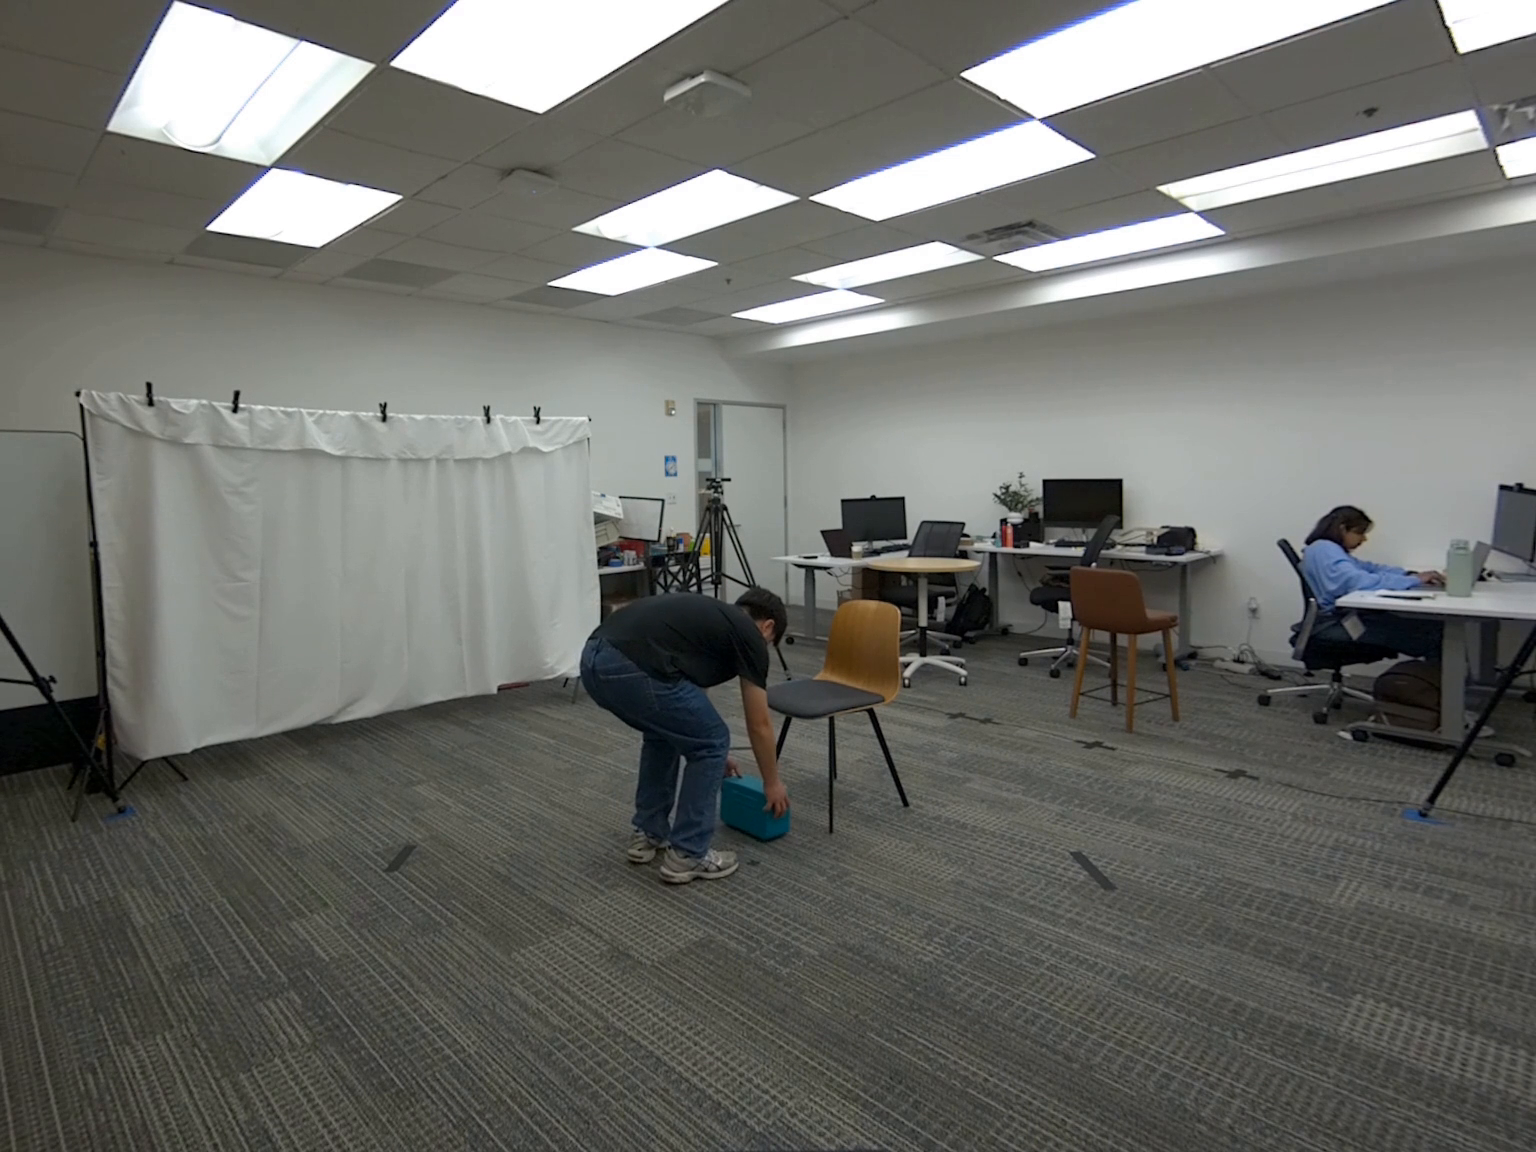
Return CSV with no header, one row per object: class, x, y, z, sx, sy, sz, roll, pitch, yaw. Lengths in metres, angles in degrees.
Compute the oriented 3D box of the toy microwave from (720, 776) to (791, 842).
toy microwave,-0.040,0.912,3.402,0.148,0.184,0.295,0,2,-41
